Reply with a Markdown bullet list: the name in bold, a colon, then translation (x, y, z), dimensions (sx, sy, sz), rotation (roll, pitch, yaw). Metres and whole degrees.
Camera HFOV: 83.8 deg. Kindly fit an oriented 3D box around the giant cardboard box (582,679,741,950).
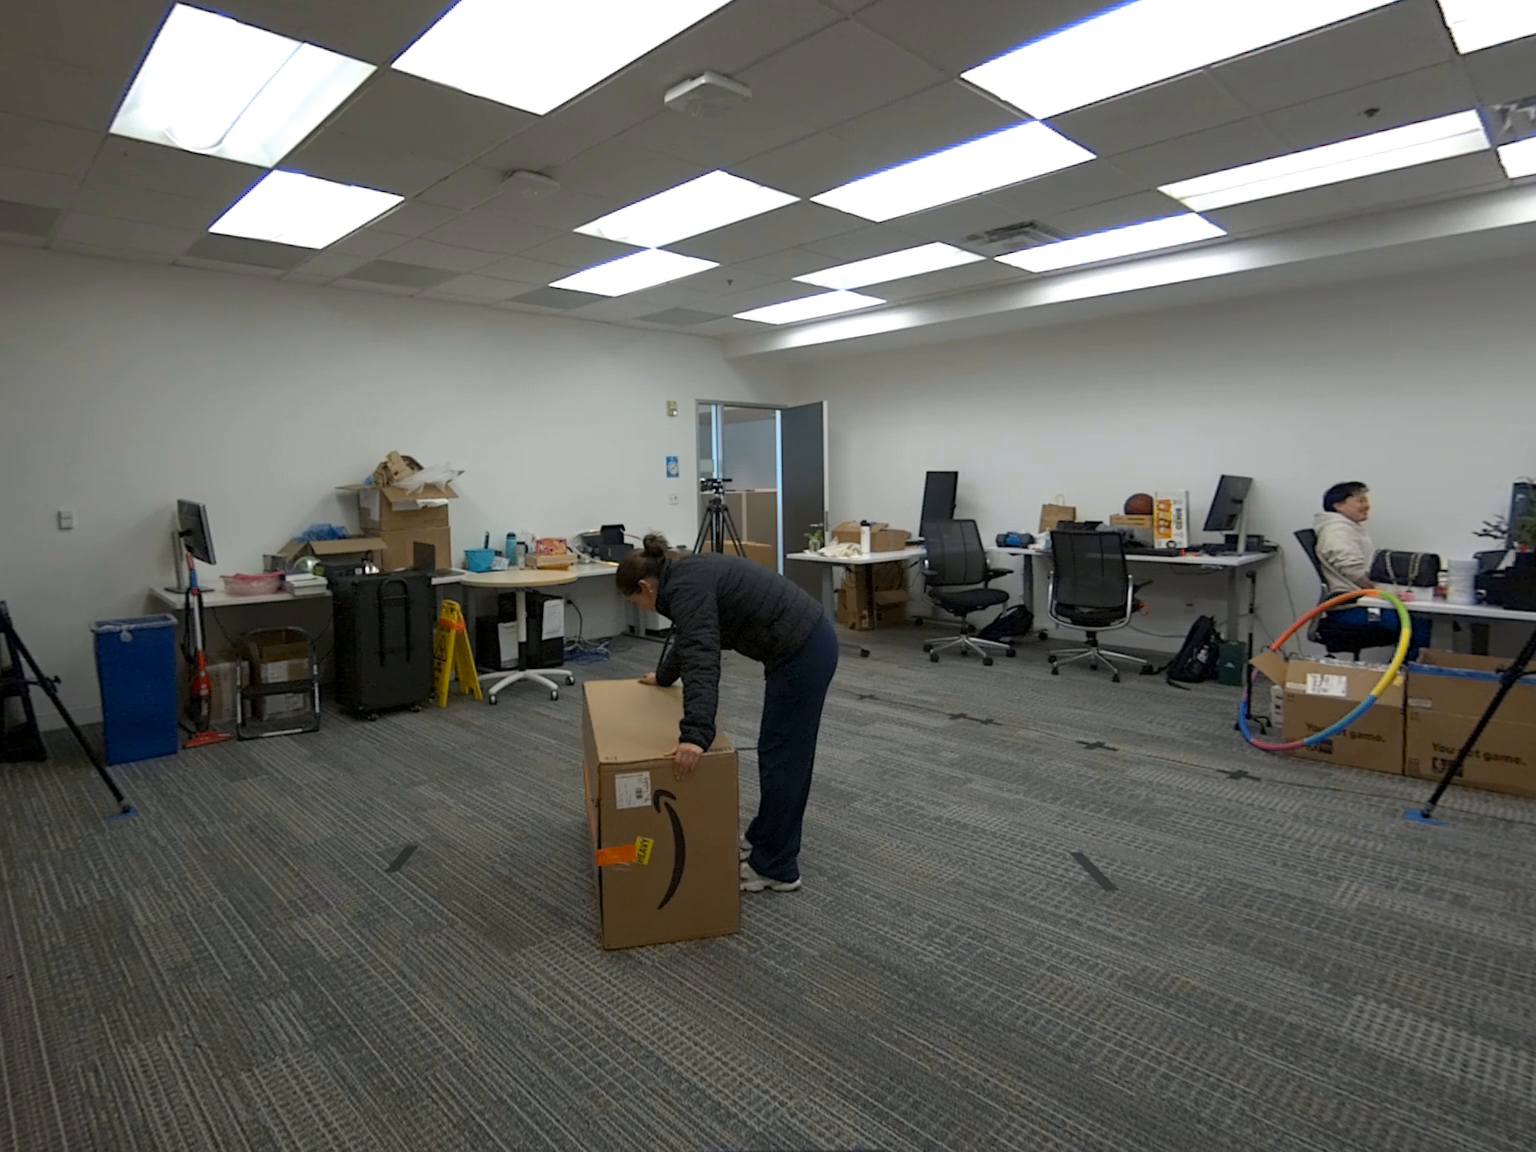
- **giant cardboard box**: translation (-0.430, 0.765, 3.073), dimensions (0.441, 0.582, 1.044), rotation (0, 5, -14)
